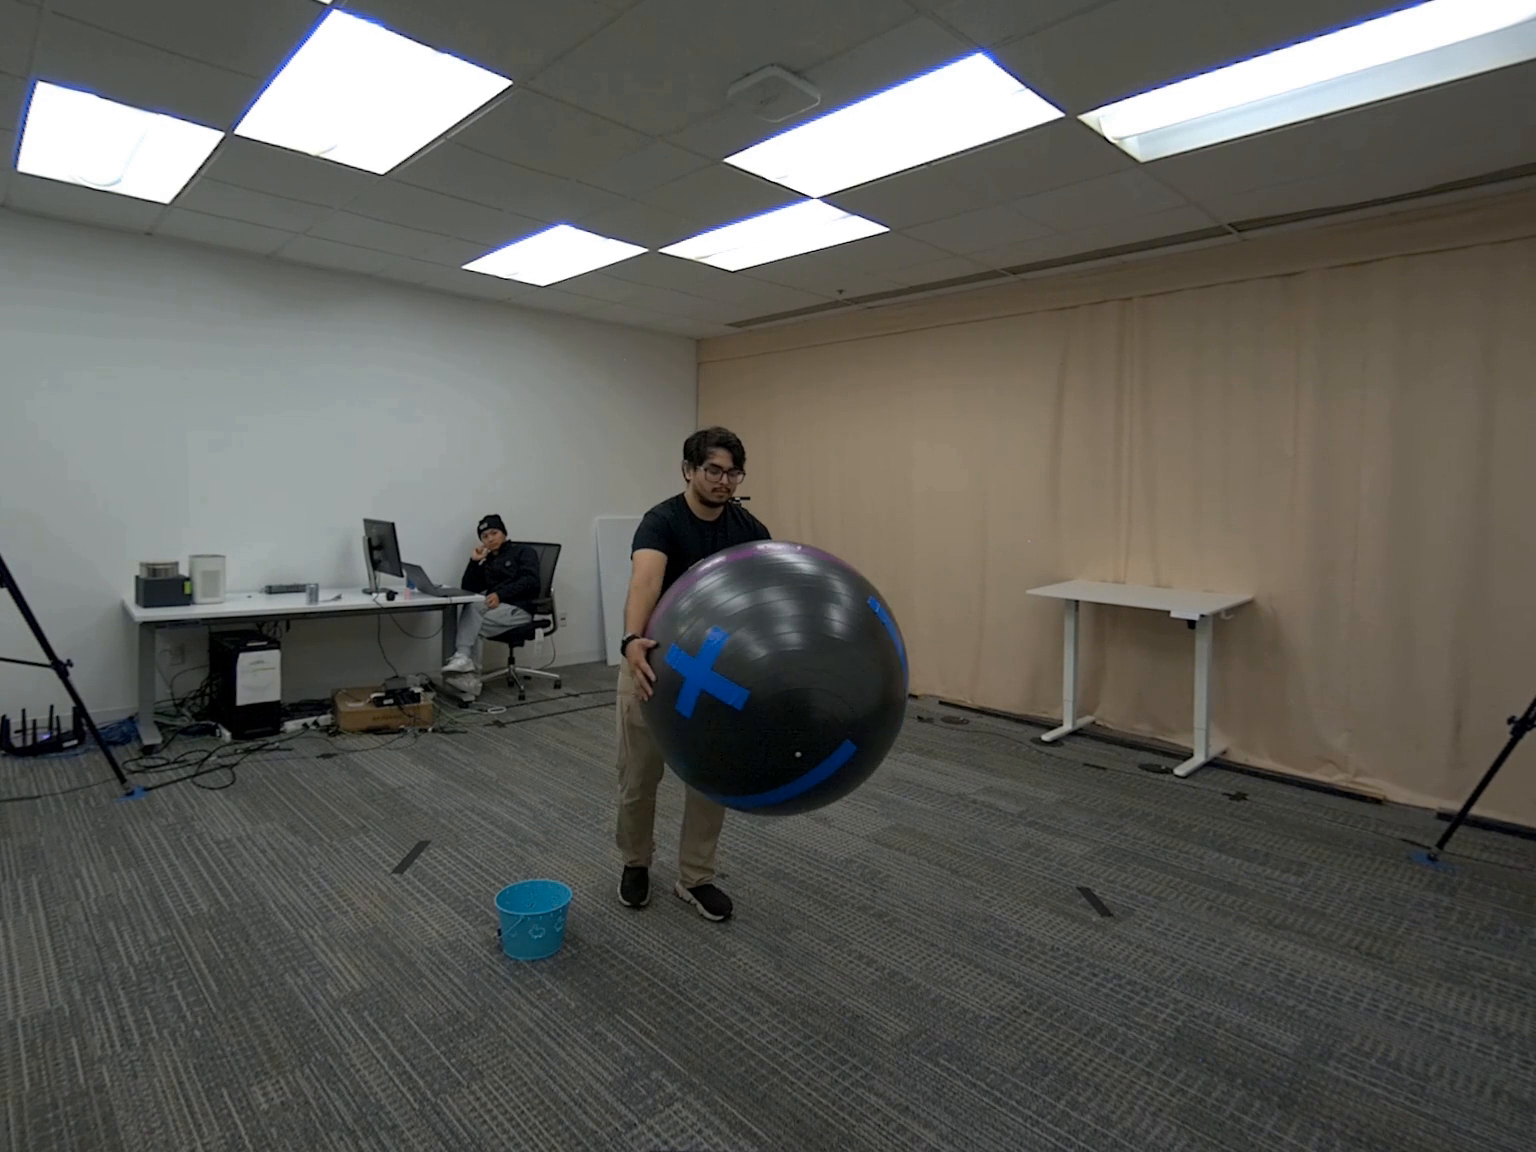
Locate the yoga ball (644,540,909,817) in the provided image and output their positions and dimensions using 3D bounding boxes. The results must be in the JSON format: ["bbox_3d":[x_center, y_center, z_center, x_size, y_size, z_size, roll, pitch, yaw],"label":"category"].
[{"bbox_3d":[-0.001,0.290,2.354,0.757,0.756,0.761,1,4,-1],"label":"yoga ball"}]
